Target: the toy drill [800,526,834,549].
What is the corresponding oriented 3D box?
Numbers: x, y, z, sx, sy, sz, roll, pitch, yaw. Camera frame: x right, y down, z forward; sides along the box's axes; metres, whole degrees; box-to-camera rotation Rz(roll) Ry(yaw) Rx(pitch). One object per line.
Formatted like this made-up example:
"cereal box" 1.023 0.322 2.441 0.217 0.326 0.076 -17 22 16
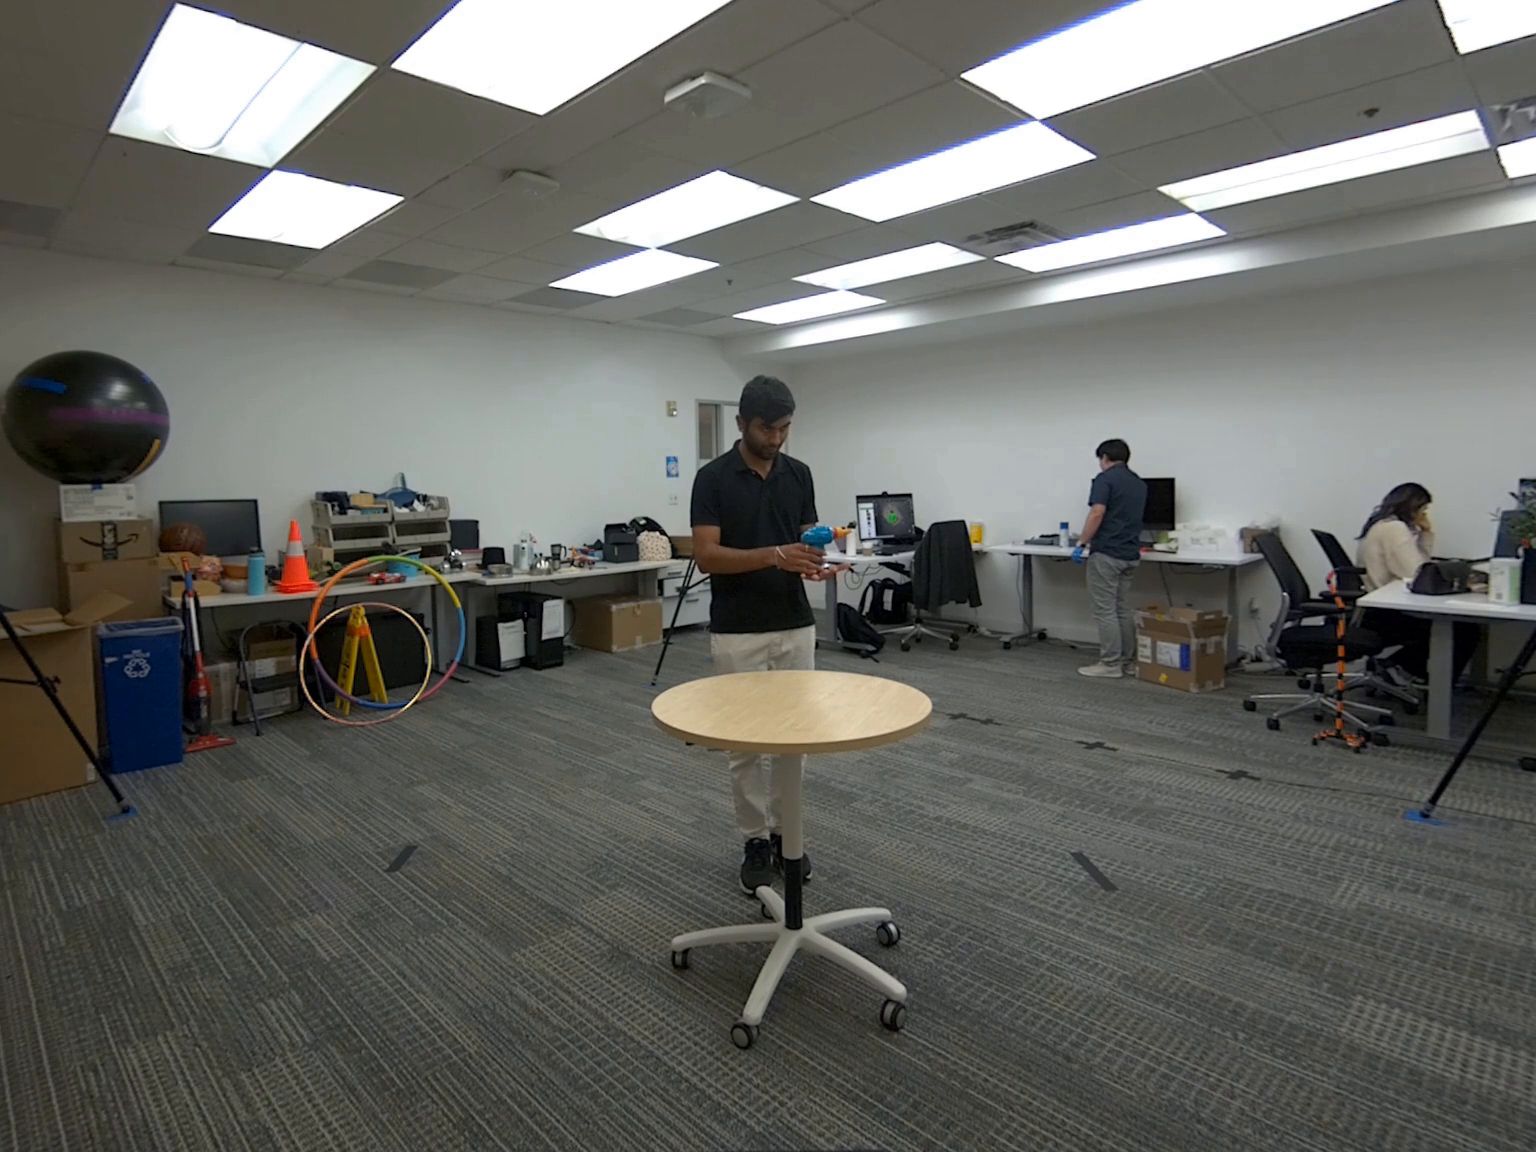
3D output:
"toy drill" 0.201 -0.092 2.692 0.168 0.145 0.062 -8 10 -14
